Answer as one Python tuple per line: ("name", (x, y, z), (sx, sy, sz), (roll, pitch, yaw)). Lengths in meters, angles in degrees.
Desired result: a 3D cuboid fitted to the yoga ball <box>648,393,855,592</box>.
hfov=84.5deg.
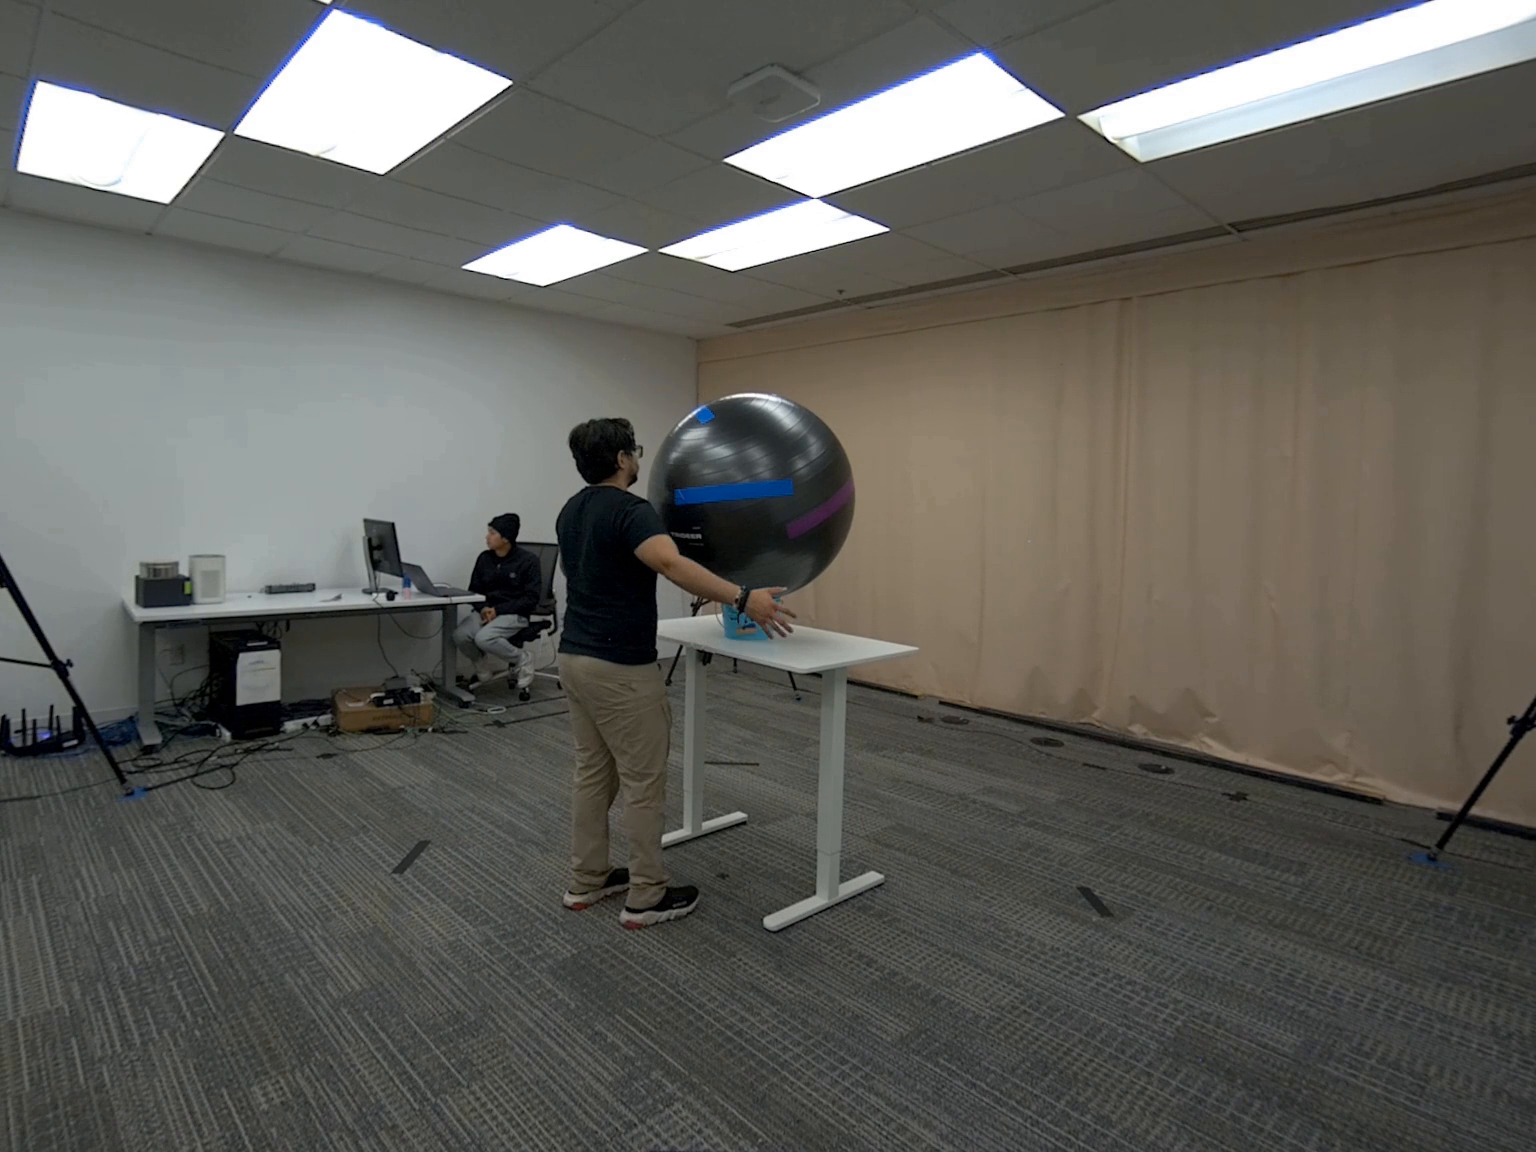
("yoga ball", (-0.057, -0.283, 3.083), (0.757, 0.756, 0.761), (1, 4, -1))
